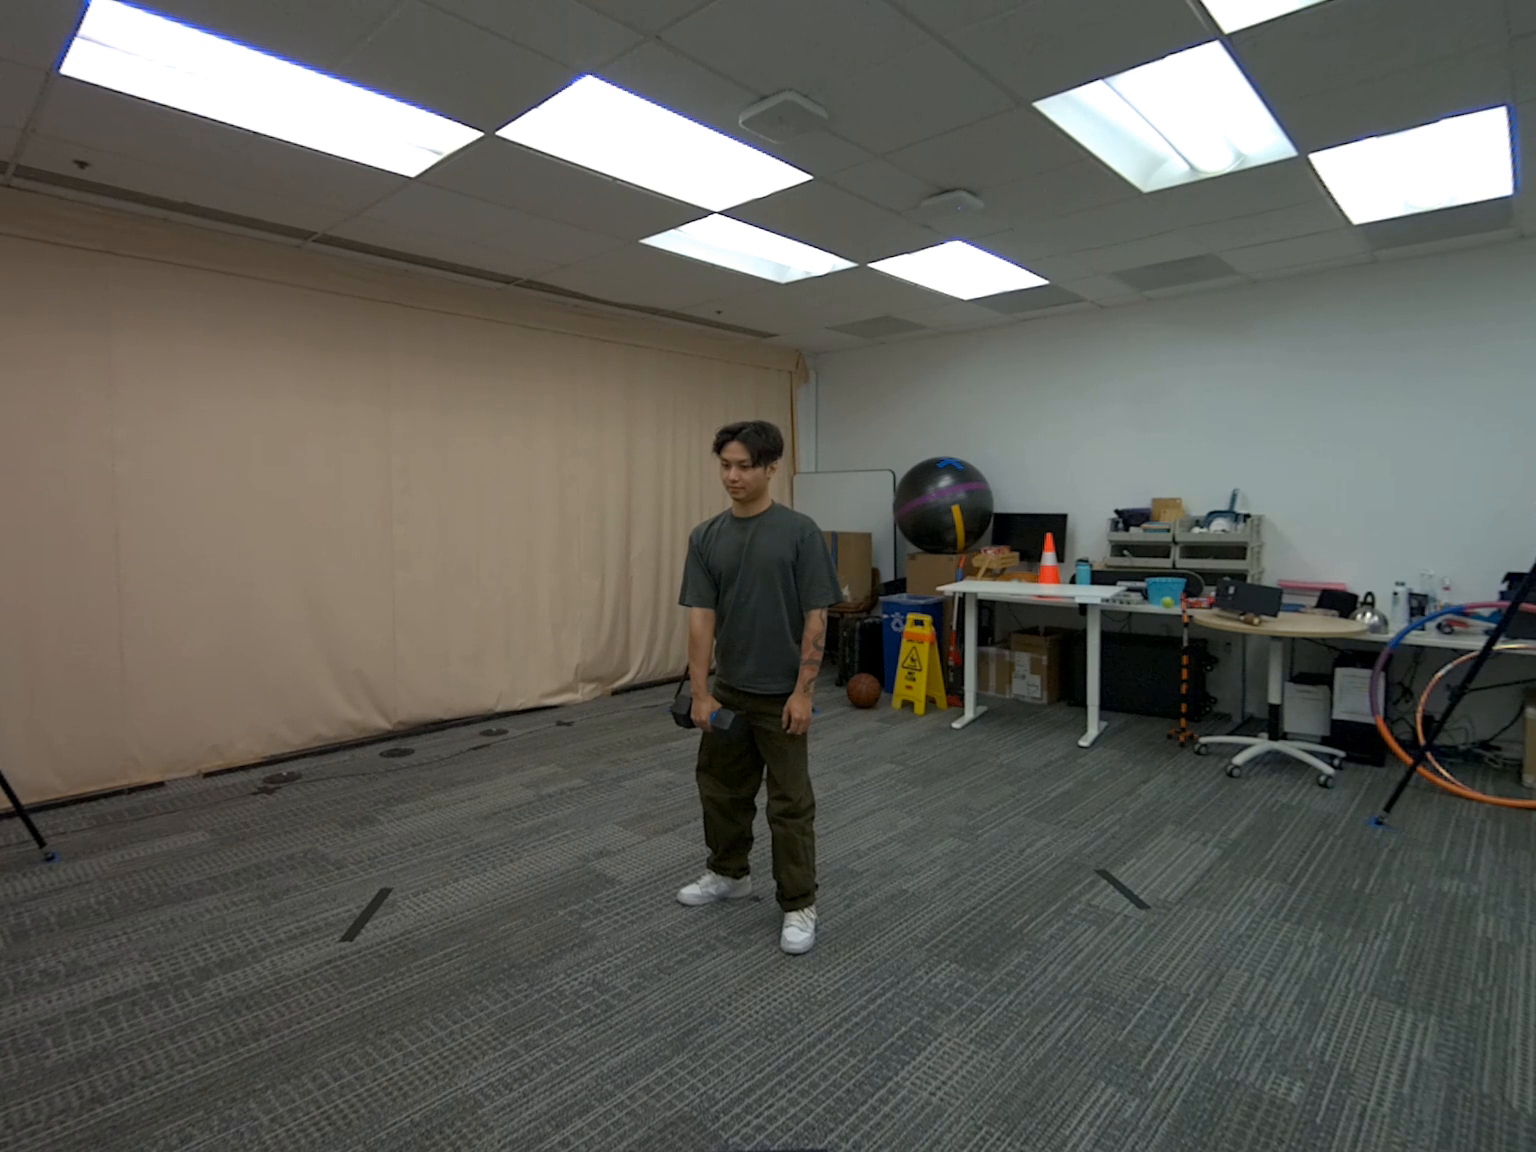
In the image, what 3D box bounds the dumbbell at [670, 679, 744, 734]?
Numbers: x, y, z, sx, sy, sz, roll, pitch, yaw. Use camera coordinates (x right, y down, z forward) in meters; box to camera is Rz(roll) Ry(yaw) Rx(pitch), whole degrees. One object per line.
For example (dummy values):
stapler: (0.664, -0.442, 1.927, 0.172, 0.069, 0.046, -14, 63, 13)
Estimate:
dumbbell: (-0.181, 0.470, 2.771, 0.304, 0.120, 0.107, 8, 34, 46)
